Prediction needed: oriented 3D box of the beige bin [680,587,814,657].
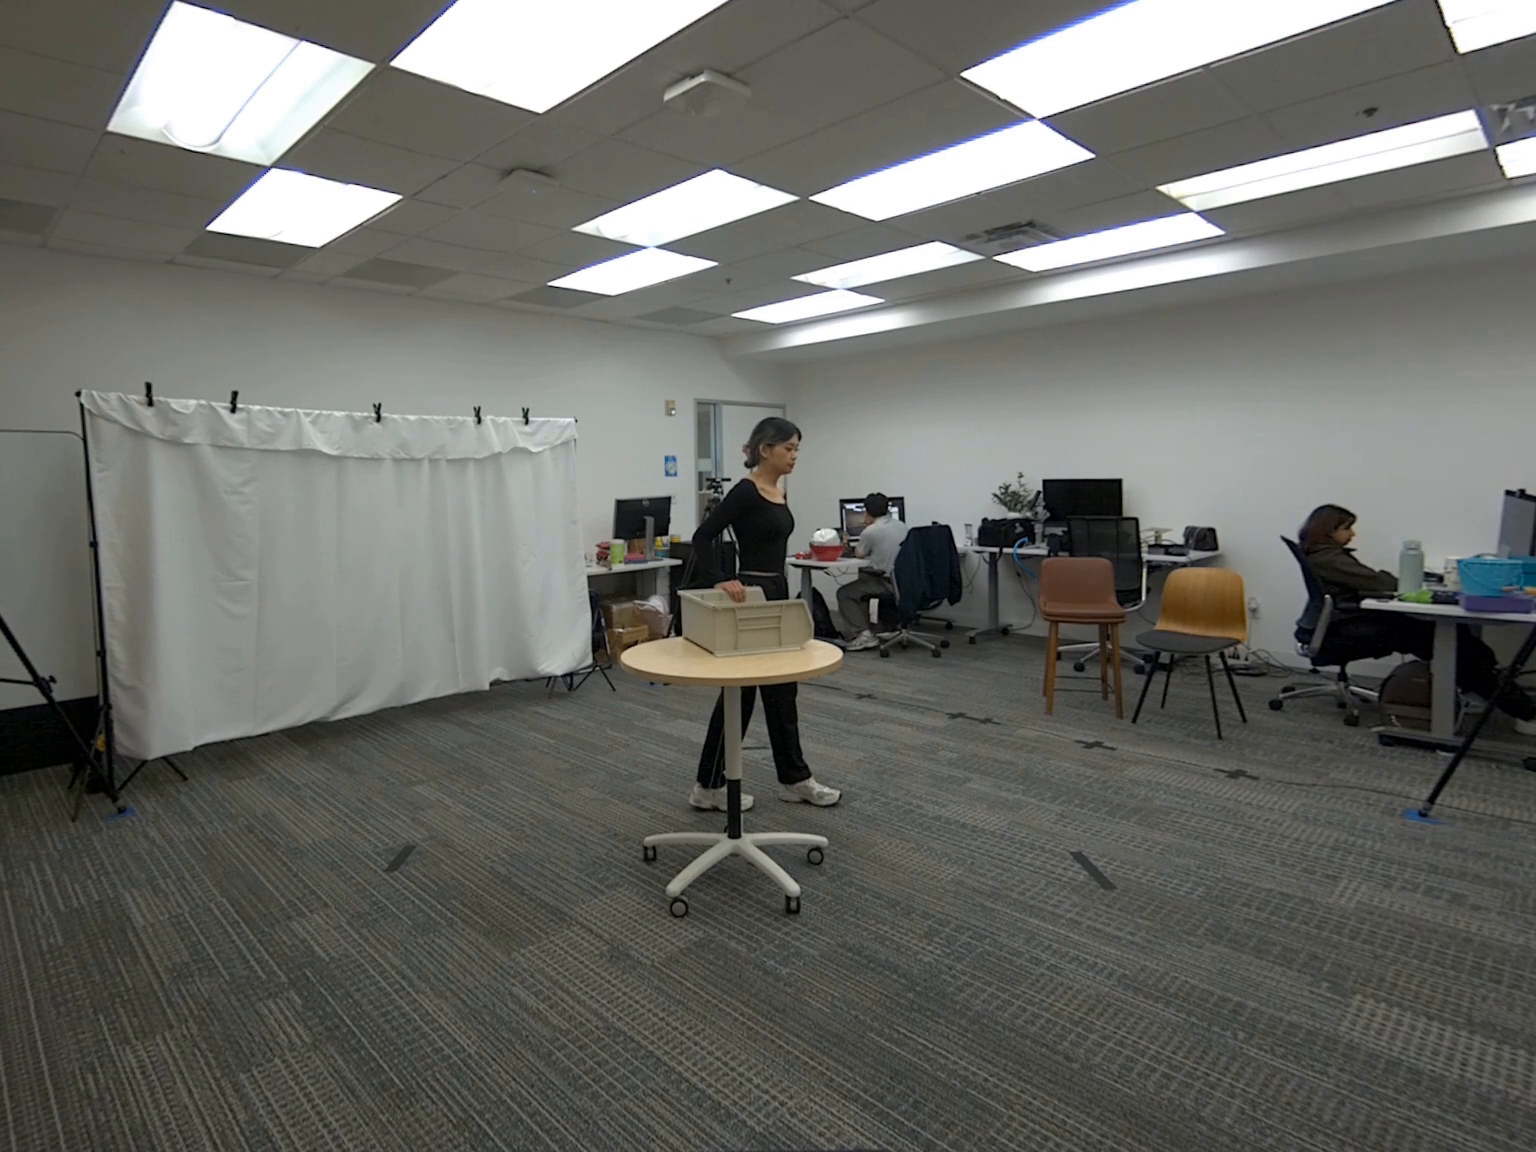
[{"bbox_3d":[-0.093,0.159,3.129,0.371,0.188,0.432,-5,7,-20],"label":"beige bin"}]
